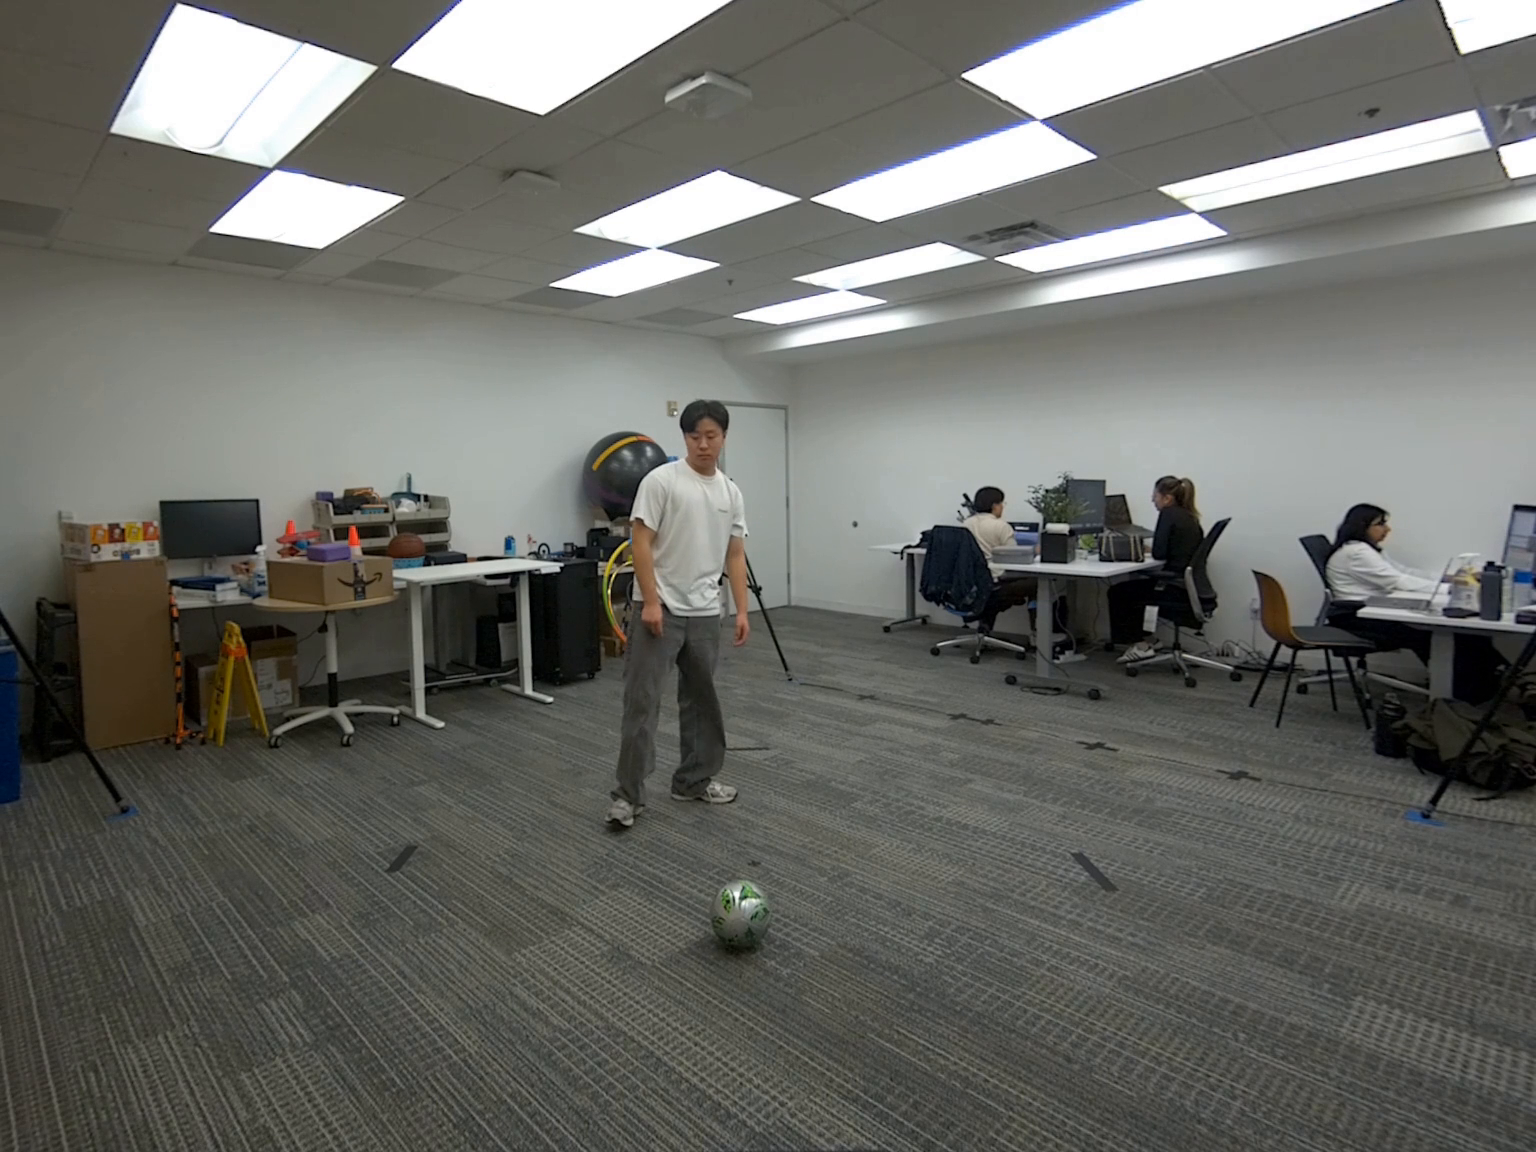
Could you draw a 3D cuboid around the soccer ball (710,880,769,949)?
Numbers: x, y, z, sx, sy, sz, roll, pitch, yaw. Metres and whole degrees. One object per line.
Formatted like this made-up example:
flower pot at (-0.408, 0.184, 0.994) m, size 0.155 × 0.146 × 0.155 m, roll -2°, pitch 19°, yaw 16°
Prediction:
soccer ball at (-0.074, 1.017, 2.571) m, size 0.187 × 0.187 × 0.188 m, roll -1°, pitch 5°, yaw -2°
